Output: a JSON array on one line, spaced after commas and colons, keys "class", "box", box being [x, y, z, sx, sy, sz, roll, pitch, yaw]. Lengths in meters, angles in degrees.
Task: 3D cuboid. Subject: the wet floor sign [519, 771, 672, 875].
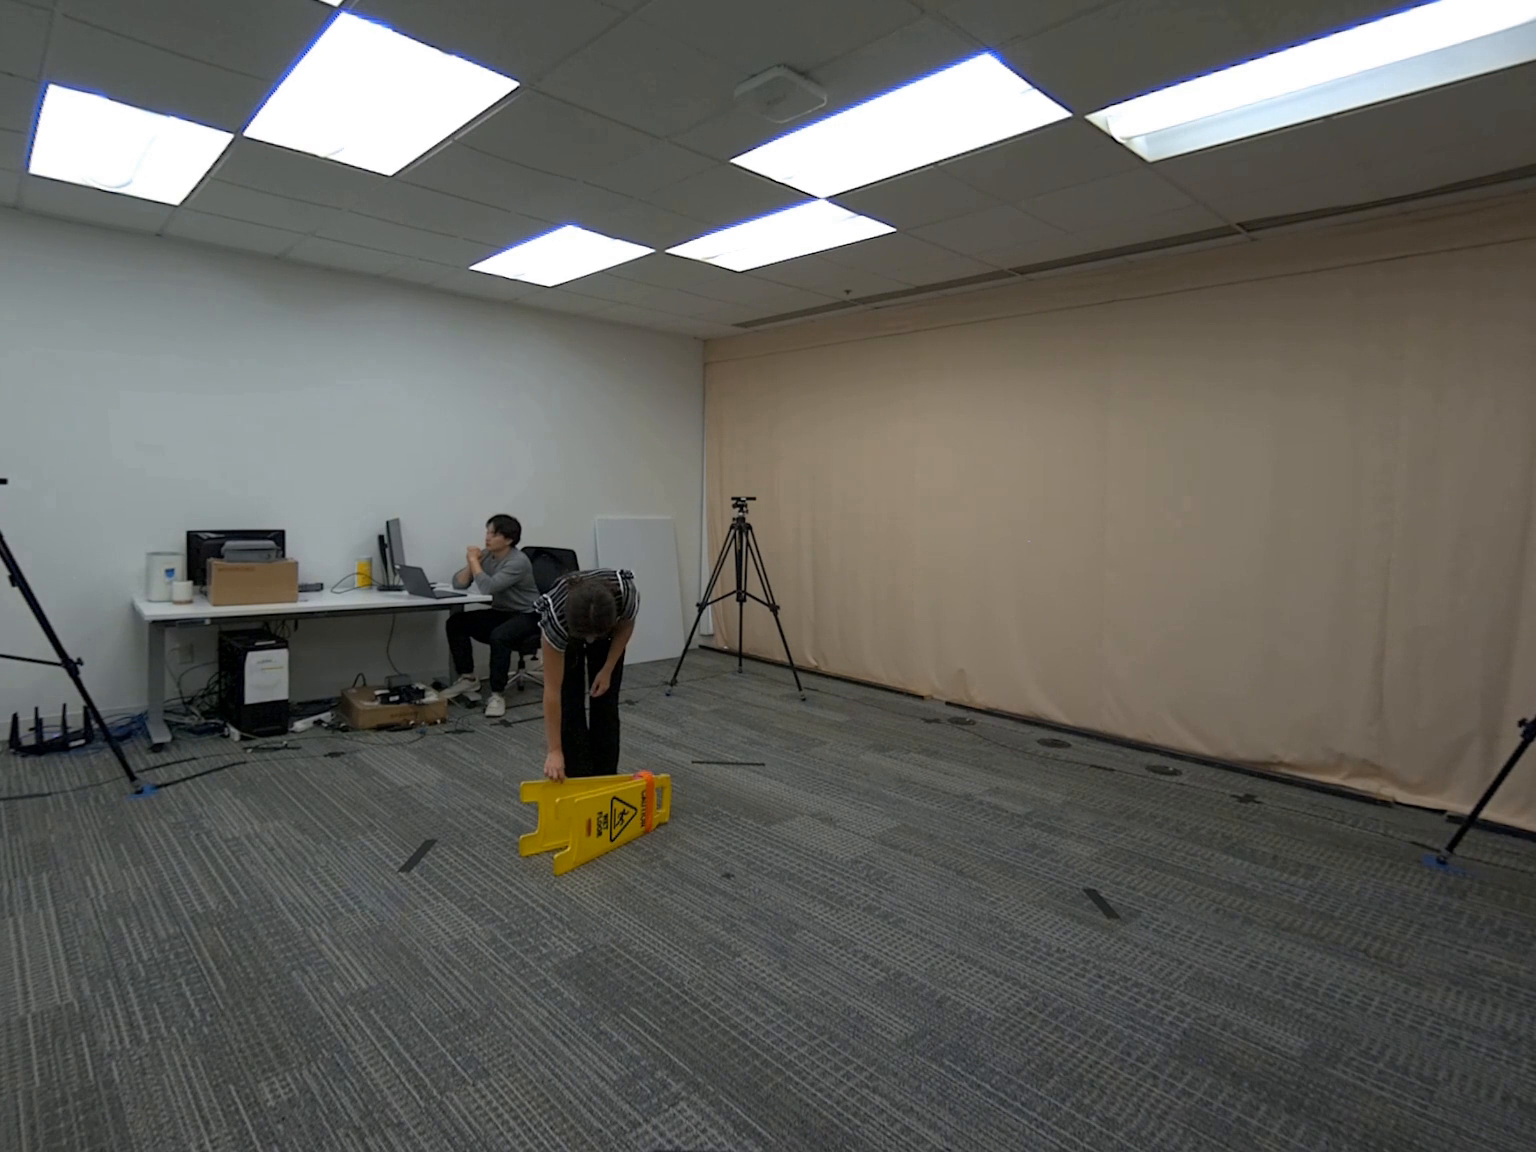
[{"class": "wet floor sign", "box": [-0.658, 0.946, 3.382, 0.297, 0.282, 0.630, 3, 2, 44]}]
